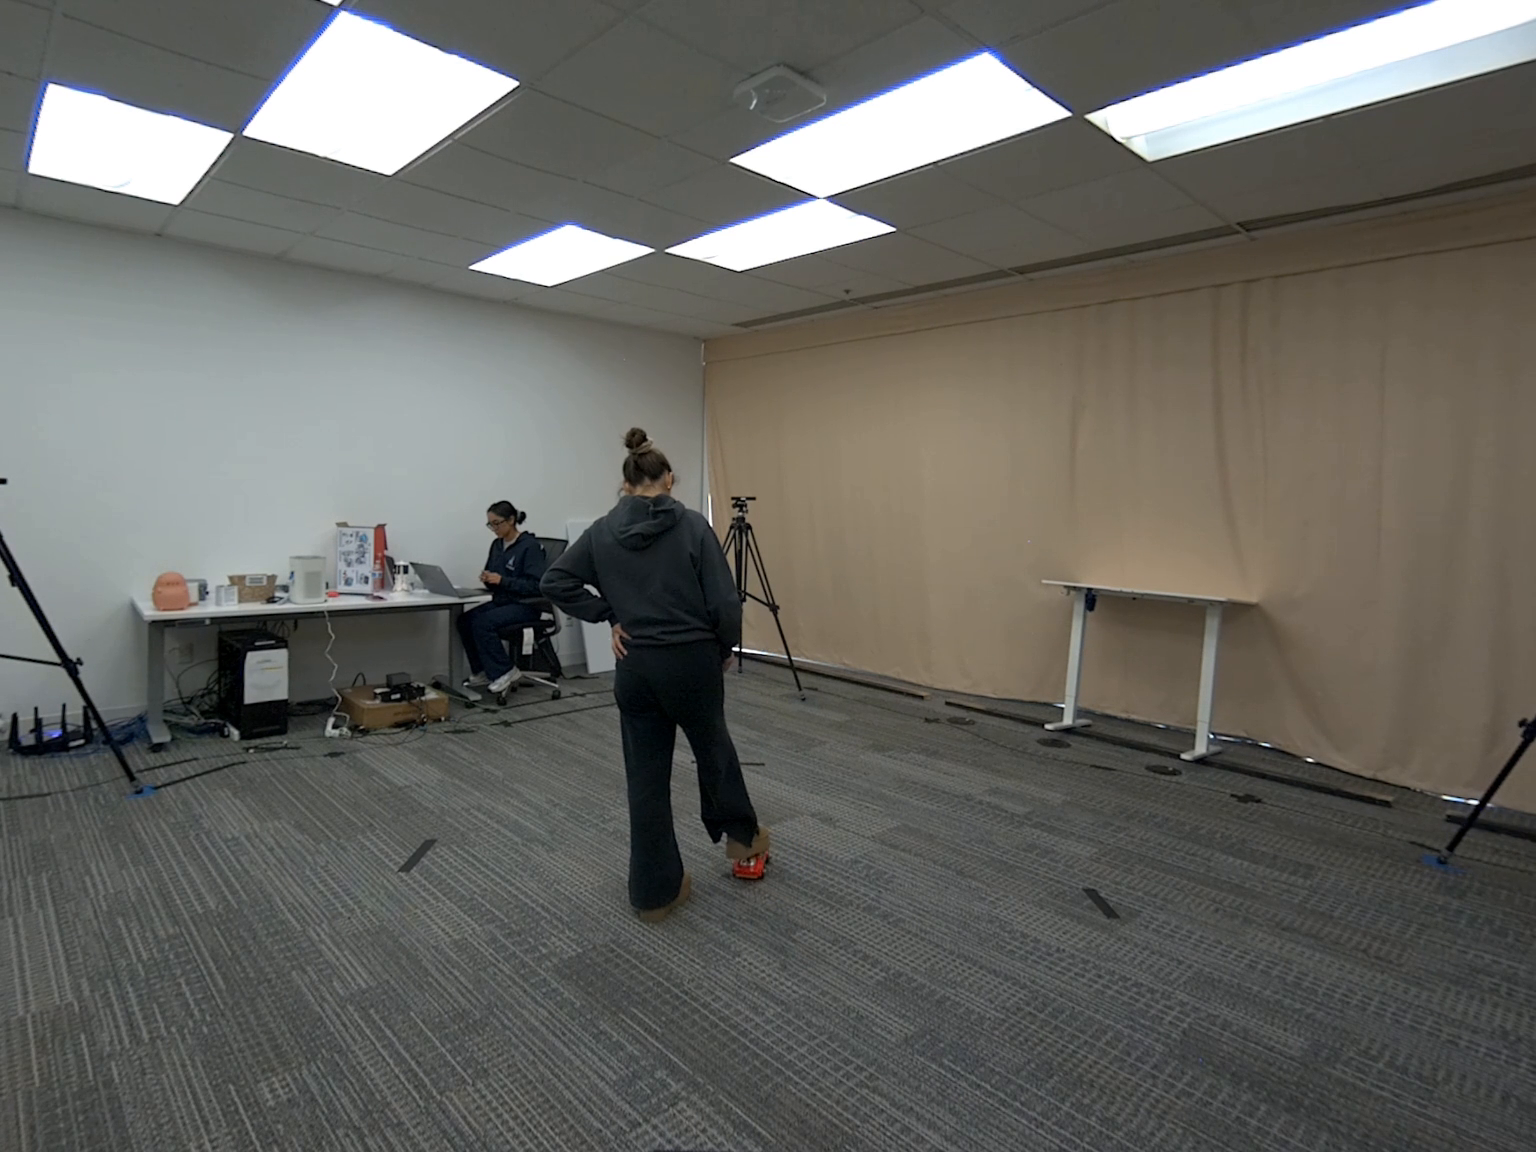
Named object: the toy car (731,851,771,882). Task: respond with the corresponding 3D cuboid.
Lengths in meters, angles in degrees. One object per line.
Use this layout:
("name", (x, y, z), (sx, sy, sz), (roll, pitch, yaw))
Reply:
("toy car", (-0.070, 1.075, 3.156), (0.131, 0.083, 0.251), (2, -7, 9))
